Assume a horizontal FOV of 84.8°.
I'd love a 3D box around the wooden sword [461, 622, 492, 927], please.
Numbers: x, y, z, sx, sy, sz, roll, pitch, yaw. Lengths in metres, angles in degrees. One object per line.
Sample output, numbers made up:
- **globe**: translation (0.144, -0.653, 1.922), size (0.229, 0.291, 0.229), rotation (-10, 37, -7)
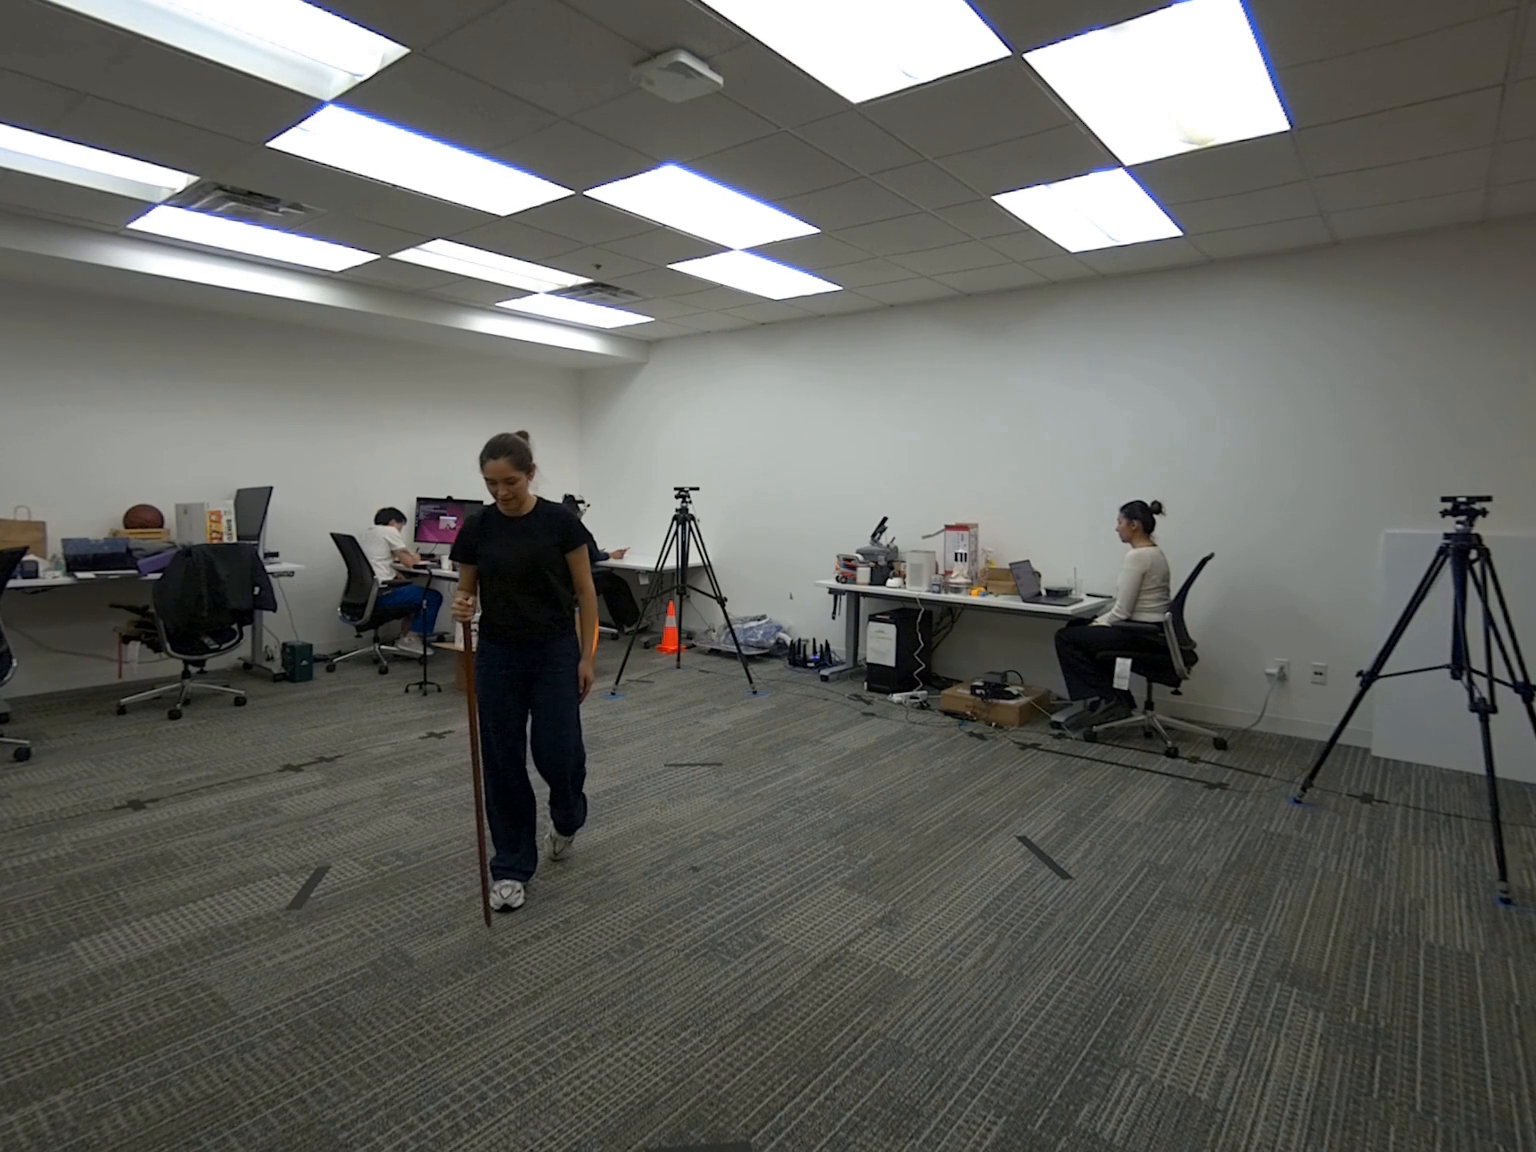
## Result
- **wooden sword**: translation (-0.938, 0.587, 2.734), size (0.050, 1.027, 0.024), rotation (-5, -2, -17)
